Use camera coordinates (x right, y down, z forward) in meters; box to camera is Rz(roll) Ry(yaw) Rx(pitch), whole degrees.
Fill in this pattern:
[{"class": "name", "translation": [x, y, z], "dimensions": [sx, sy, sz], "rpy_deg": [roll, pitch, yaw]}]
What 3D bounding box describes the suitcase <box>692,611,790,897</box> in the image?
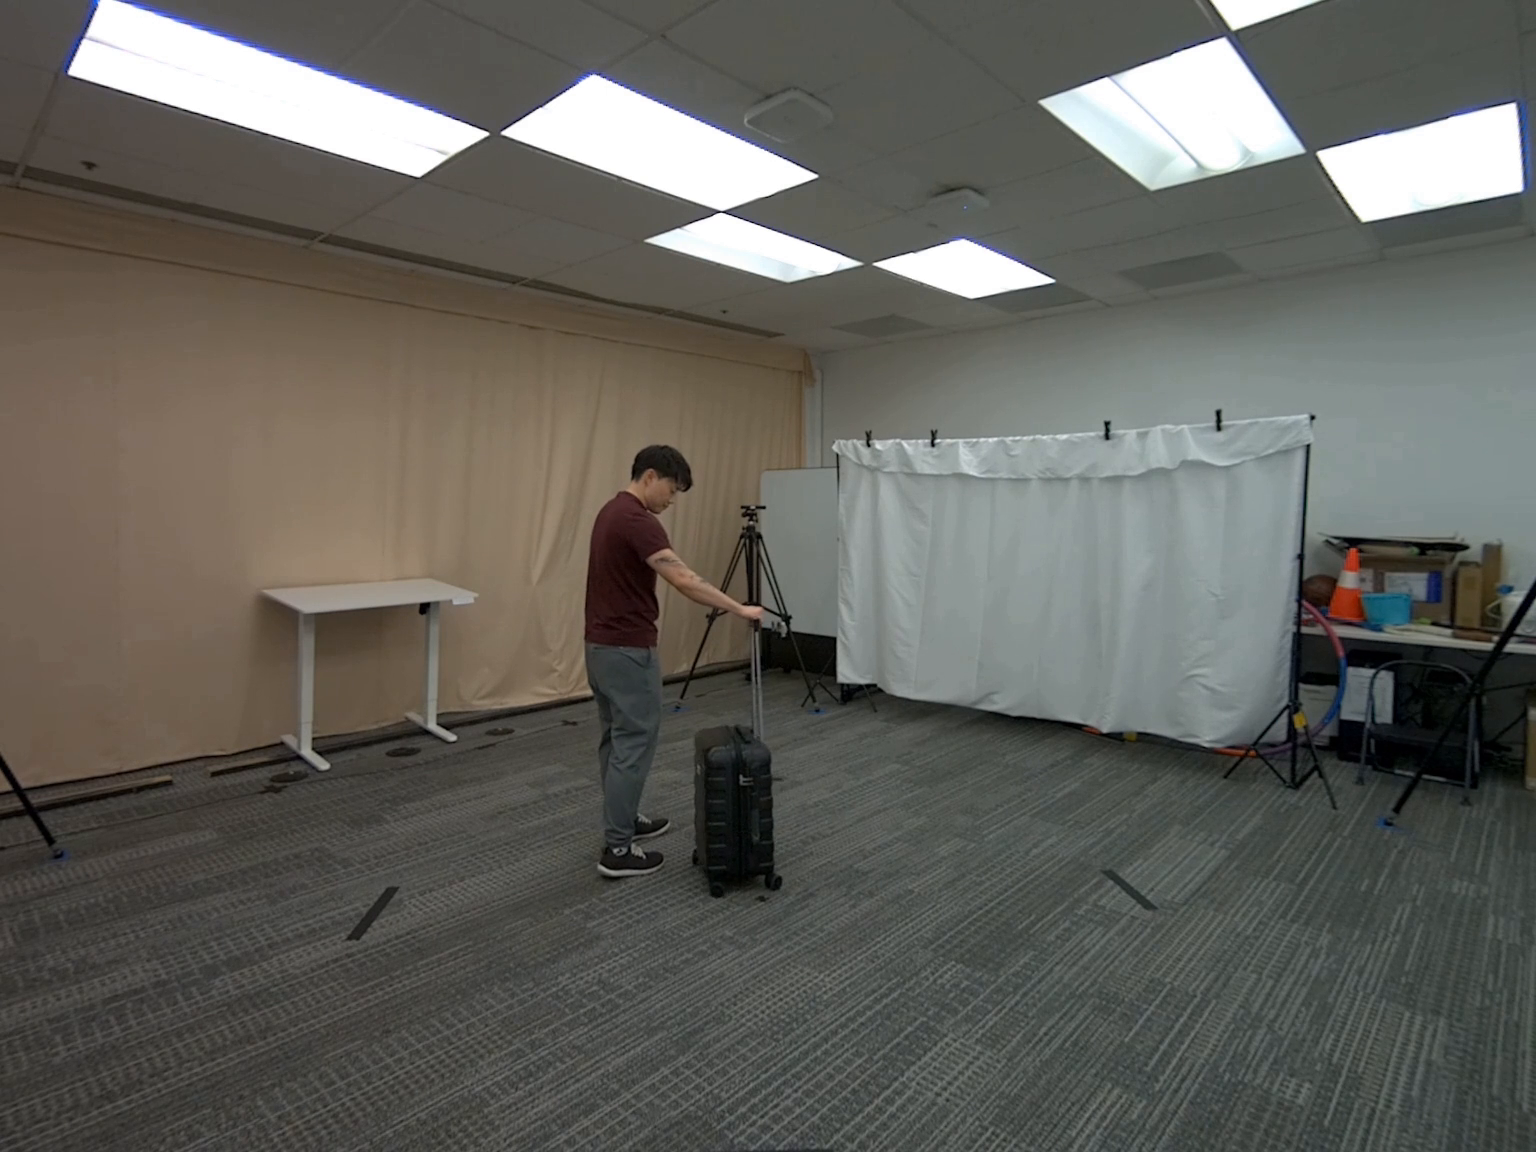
[{"class": "suitcase", "translation": [-0.137, 0.652, 3.143], "dimensions": [0.254, 0.976, 0.389], "rpy_deg": [-4, 3, -12]}]
